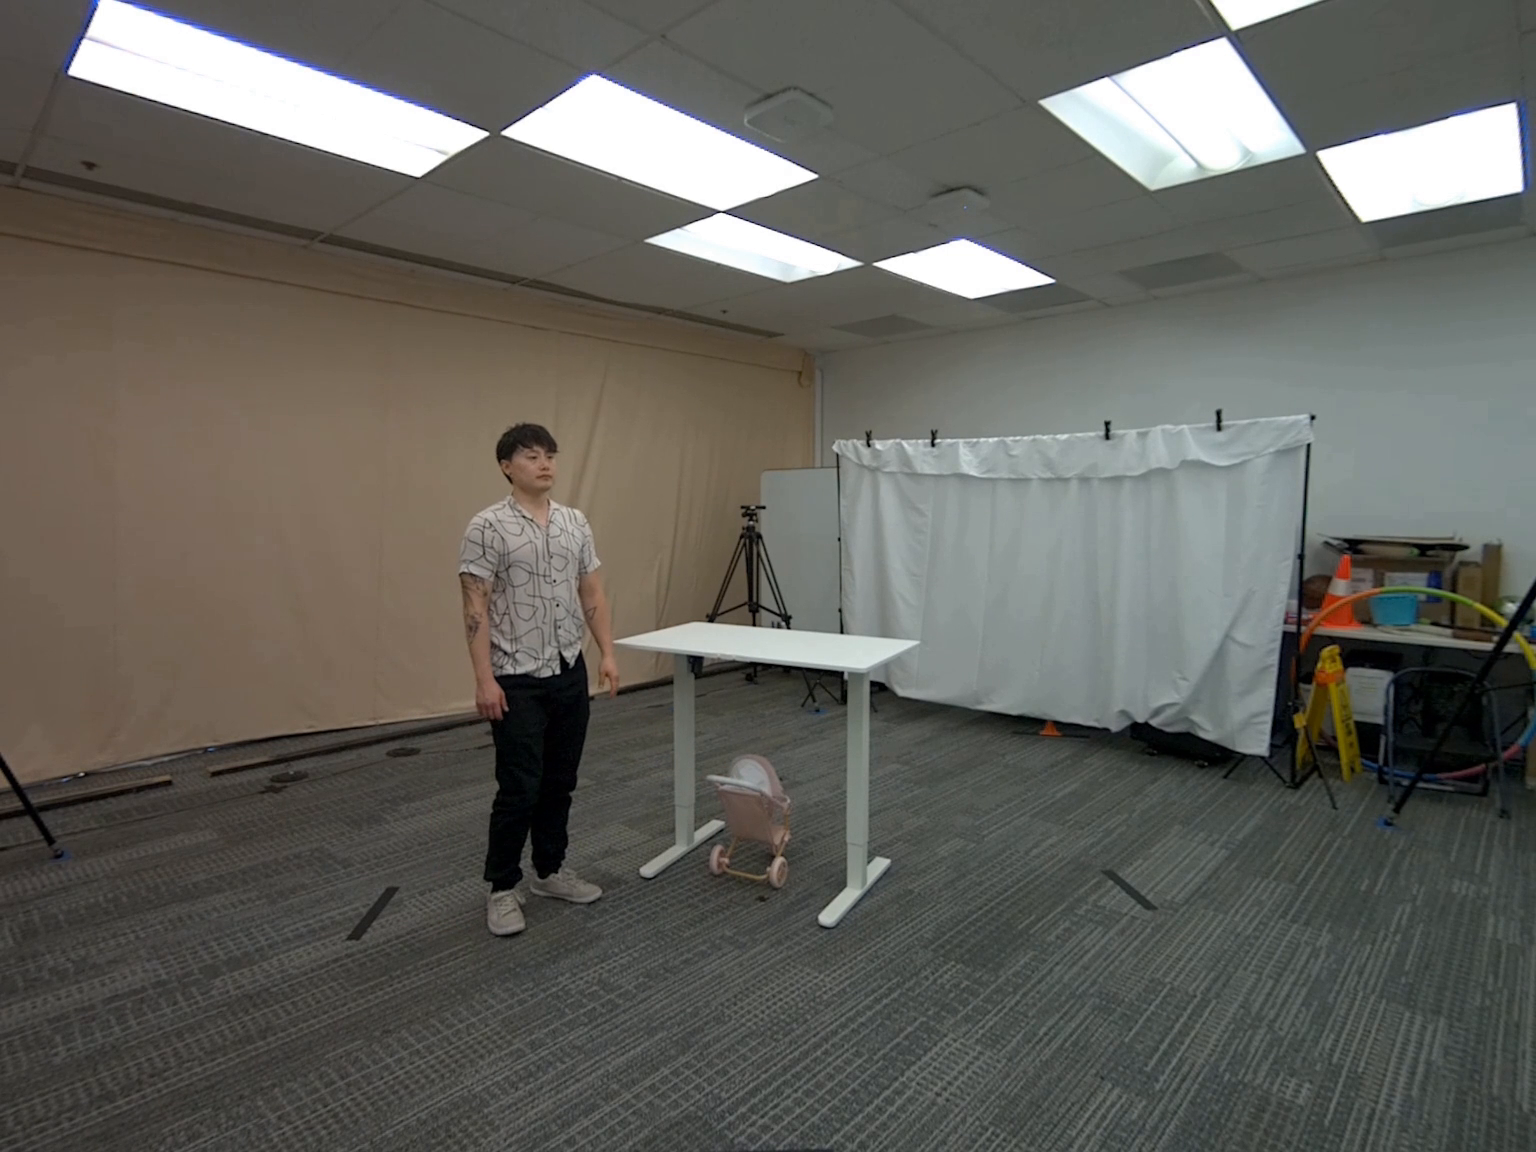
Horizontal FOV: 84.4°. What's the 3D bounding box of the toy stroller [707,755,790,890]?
[{"bbox_3d":[-0.046,0.902,3.162,0.290,0.528,0.336,2,20,30],"label":"toy stroller"}]
